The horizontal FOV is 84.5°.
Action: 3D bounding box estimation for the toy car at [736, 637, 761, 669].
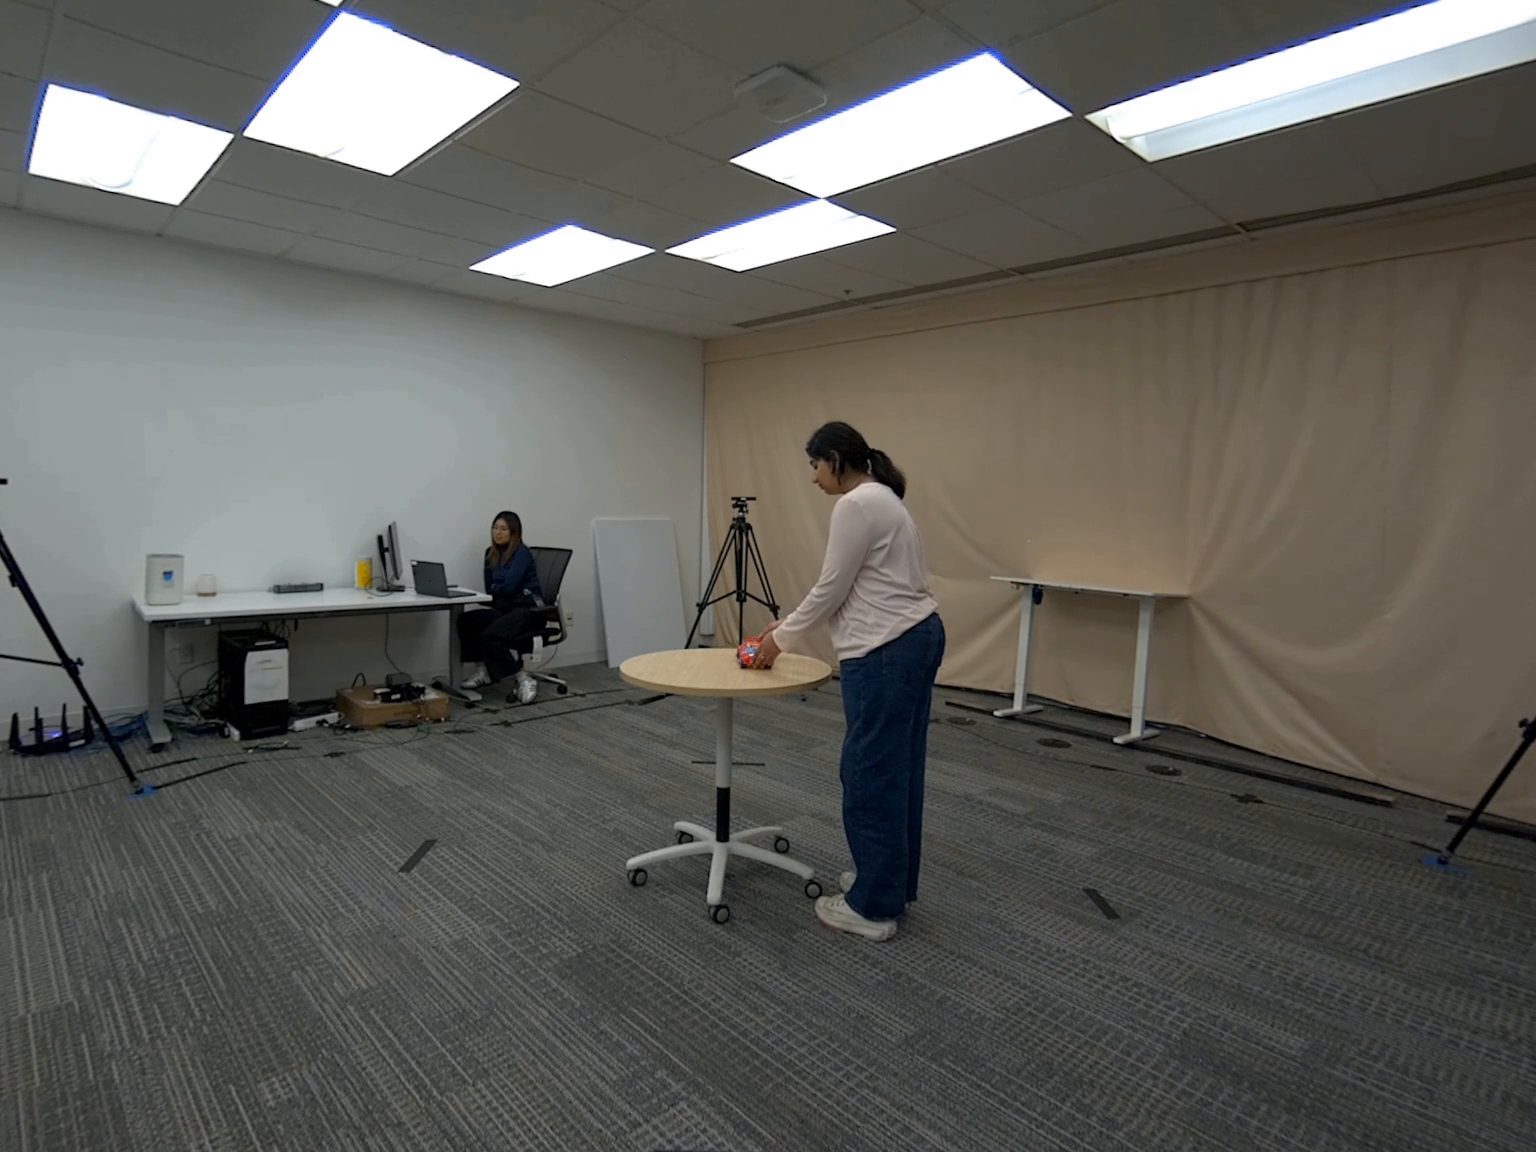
[{"bbox_3d":[-0.060,0.292,3.110,0.130,0.082,0.258,0,18,-5],"label":"toy car"}]
